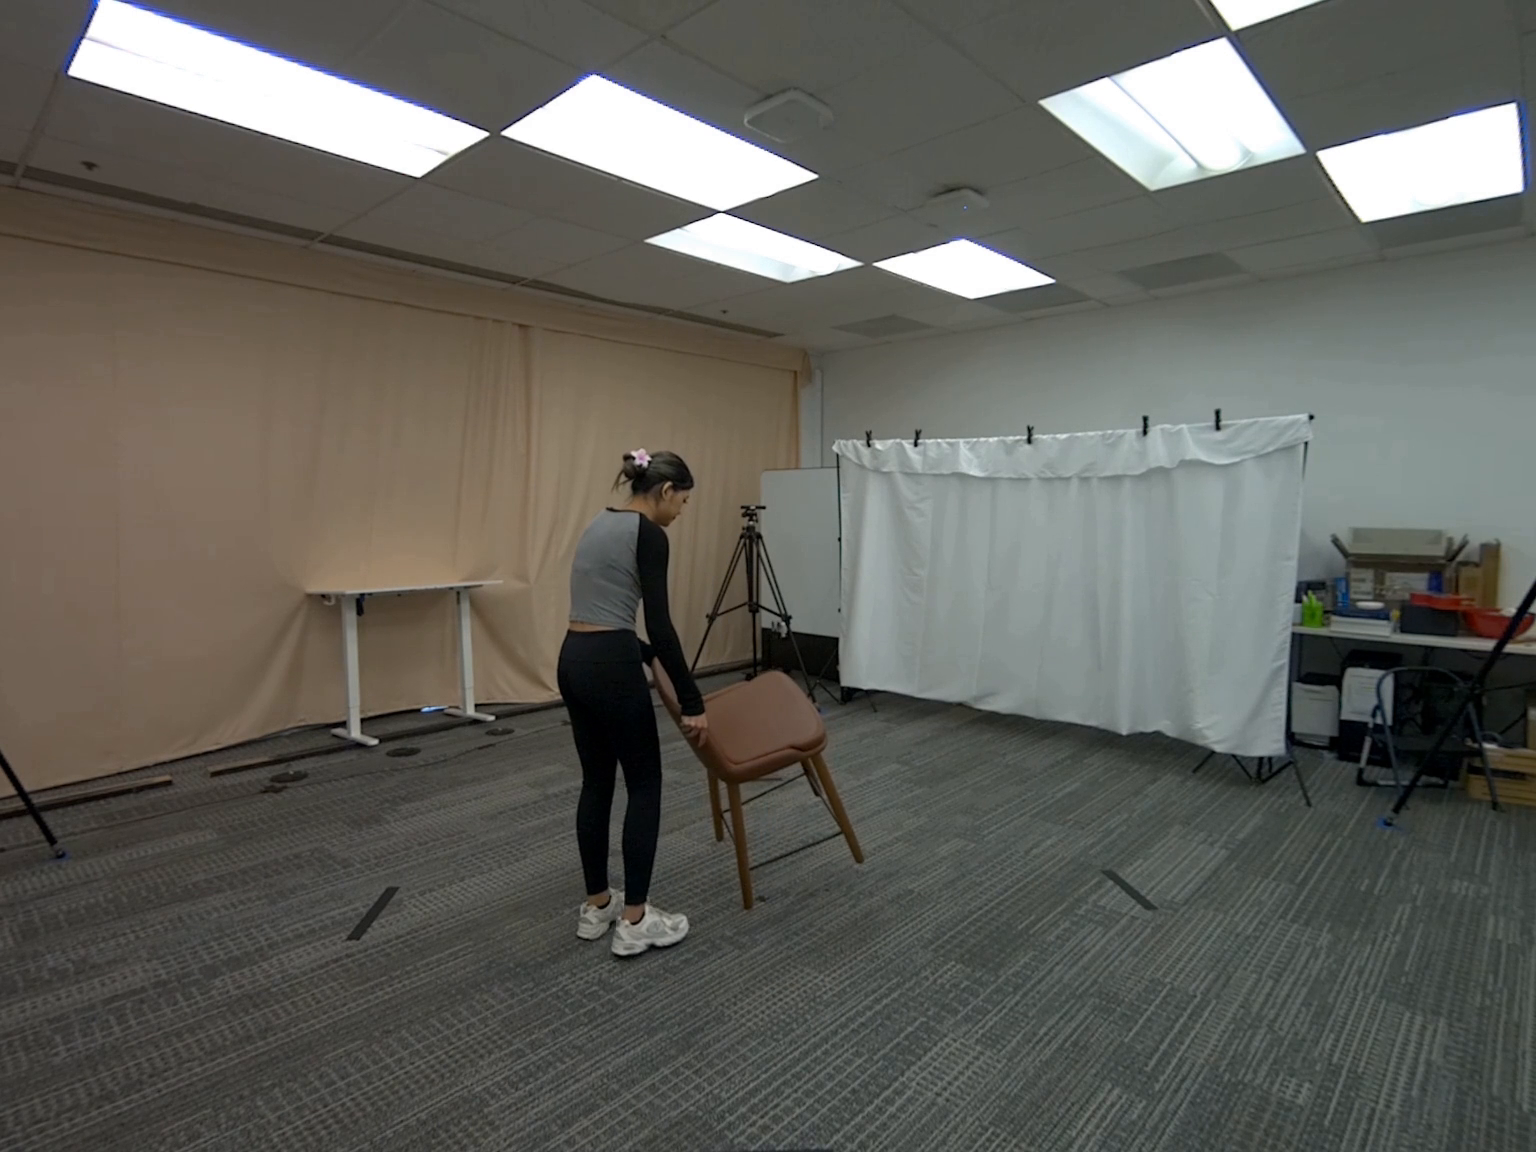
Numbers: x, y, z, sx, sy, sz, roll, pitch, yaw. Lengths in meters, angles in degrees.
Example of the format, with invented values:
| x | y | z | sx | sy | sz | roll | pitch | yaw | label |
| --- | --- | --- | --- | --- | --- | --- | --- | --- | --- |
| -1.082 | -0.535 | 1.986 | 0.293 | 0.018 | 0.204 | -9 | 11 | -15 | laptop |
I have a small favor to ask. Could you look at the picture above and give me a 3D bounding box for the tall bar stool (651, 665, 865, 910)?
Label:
| x | y | z | sx | sy | sz | roll | pitch | yaw | label |
| --- | --- | --- | --- | --- | --- | --- | --- | --- | --- |
| -0.029 | 0.637 | 2.917 | 0.464 | 0.870 | 0.470 | -22 | 27 | -10 | tall bar stool |
